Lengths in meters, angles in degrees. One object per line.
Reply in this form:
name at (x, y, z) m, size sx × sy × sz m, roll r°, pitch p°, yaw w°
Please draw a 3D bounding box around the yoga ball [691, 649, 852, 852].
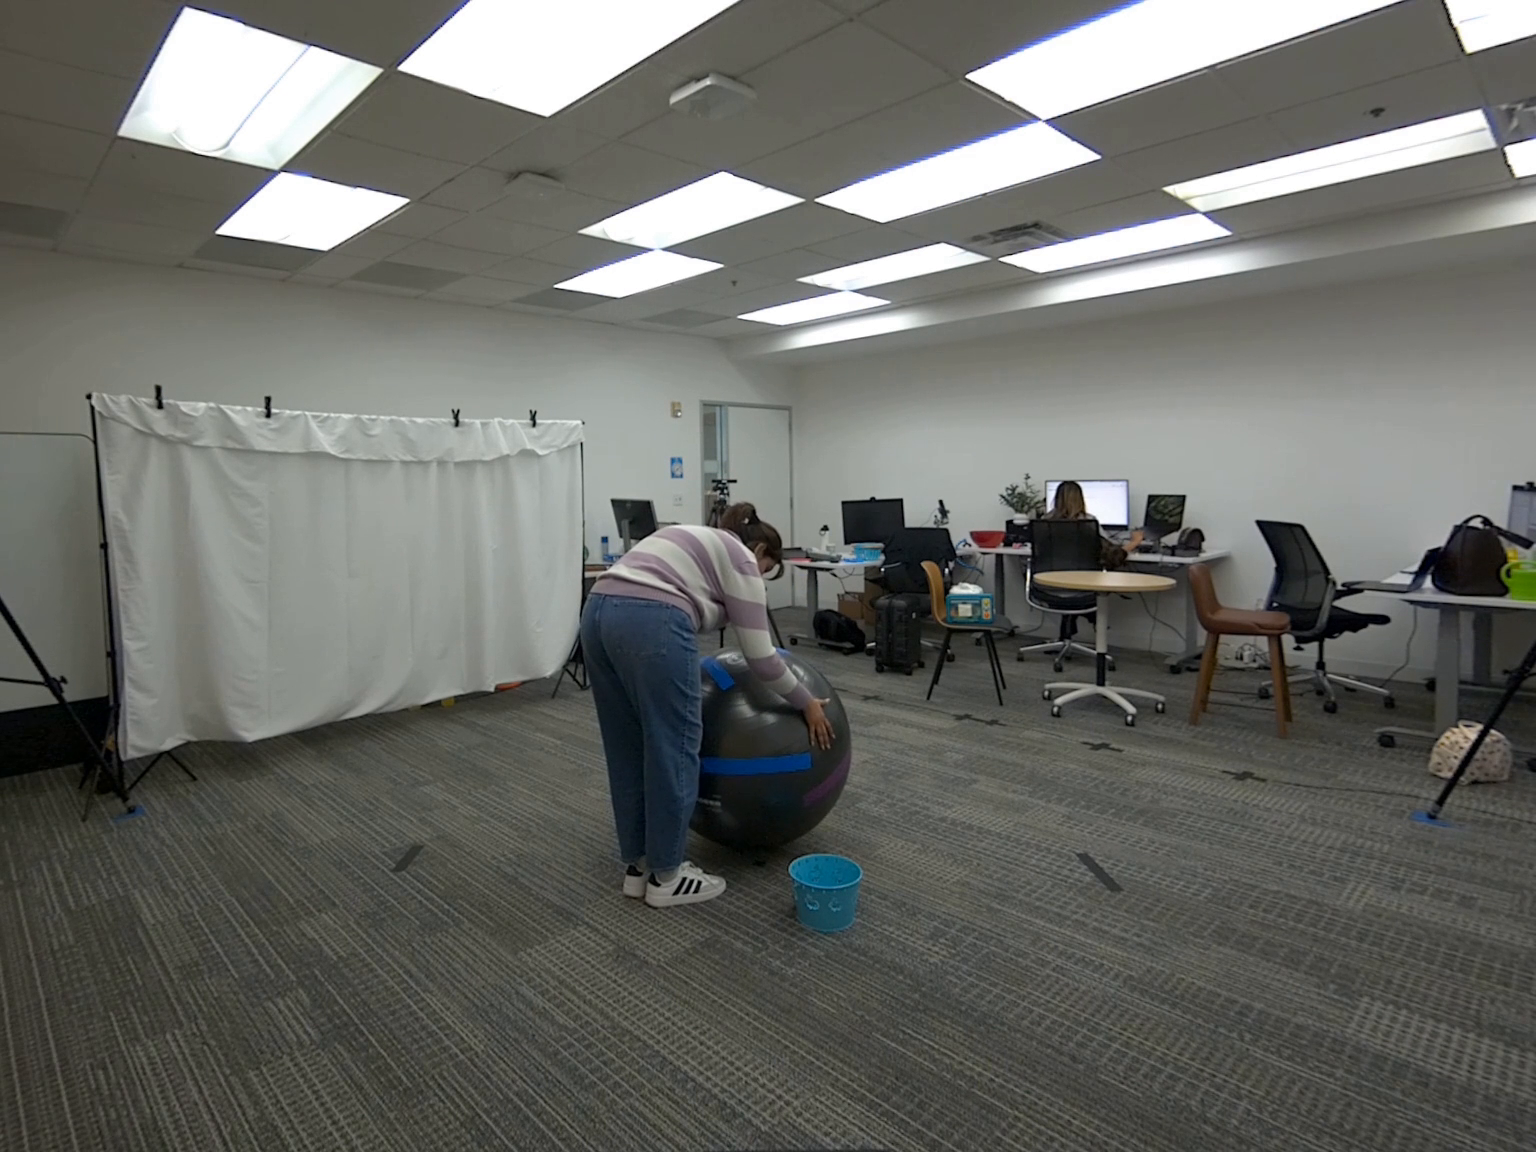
yoga ball at (-0.049, 0.651, 3.246) m, size 0.757 × 0.755 × 0.762 m, roll -1°, pitch 5°, yaw -2°
